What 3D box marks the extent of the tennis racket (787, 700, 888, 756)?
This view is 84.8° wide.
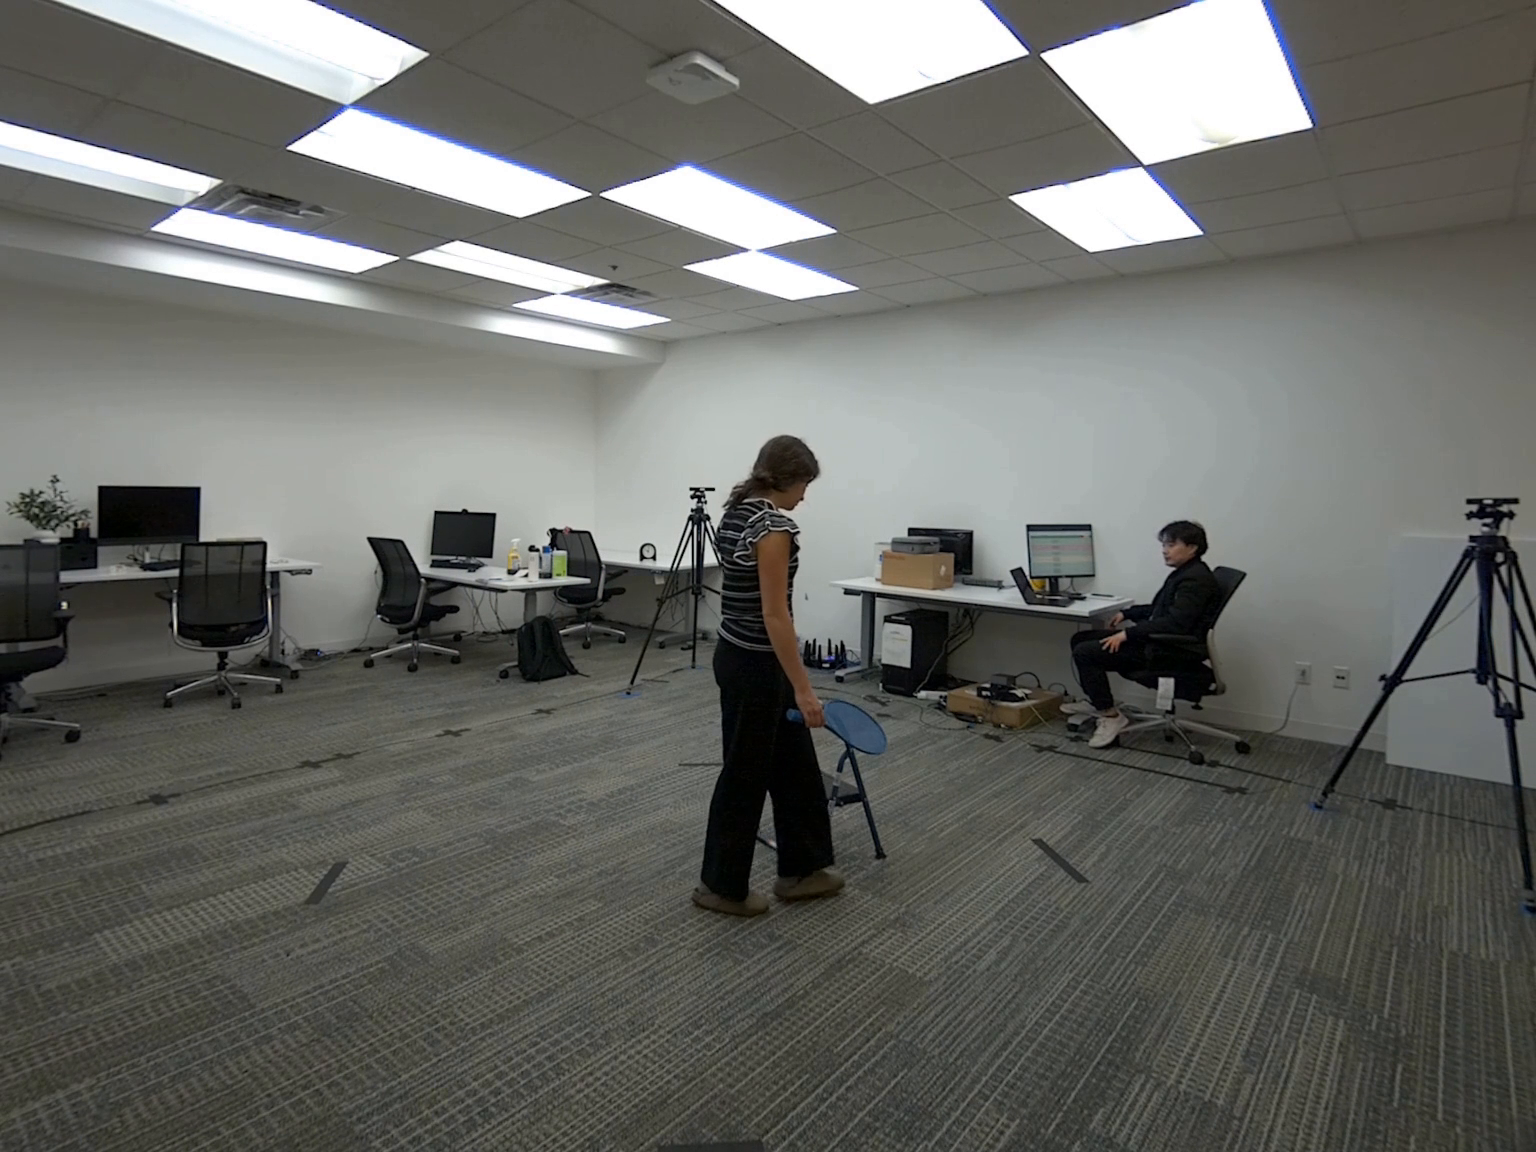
[{"bbox_3d":[0.220,0.466,2.715,0.417,0.031,0.222,17,31,-38],"label":"tennis racket"}]
